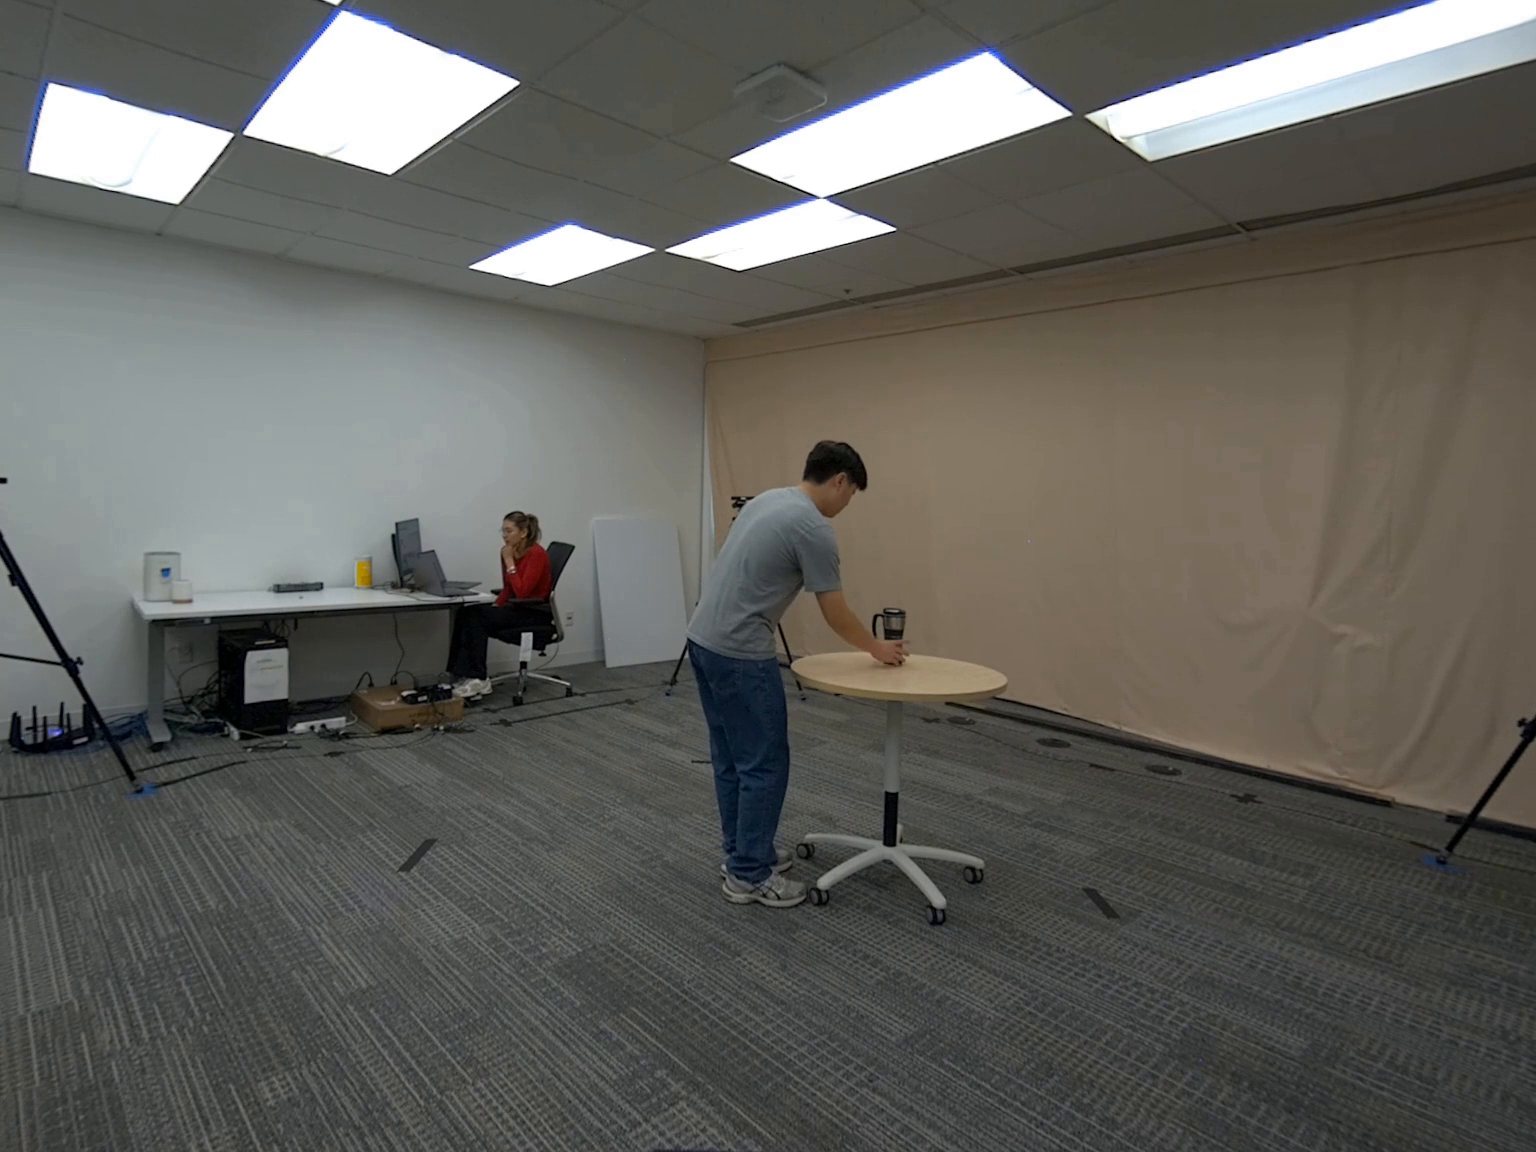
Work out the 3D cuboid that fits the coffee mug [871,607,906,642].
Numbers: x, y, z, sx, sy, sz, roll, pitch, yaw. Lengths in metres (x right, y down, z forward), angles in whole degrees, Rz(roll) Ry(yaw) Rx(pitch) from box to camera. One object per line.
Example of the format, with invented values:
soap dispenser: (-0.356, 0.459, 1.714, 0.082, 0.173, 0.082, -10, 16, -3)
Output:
coffee mug: (0.452, 0.230, 3.210, 0.125, 0.202, 0.086, 7, 10, 36)
